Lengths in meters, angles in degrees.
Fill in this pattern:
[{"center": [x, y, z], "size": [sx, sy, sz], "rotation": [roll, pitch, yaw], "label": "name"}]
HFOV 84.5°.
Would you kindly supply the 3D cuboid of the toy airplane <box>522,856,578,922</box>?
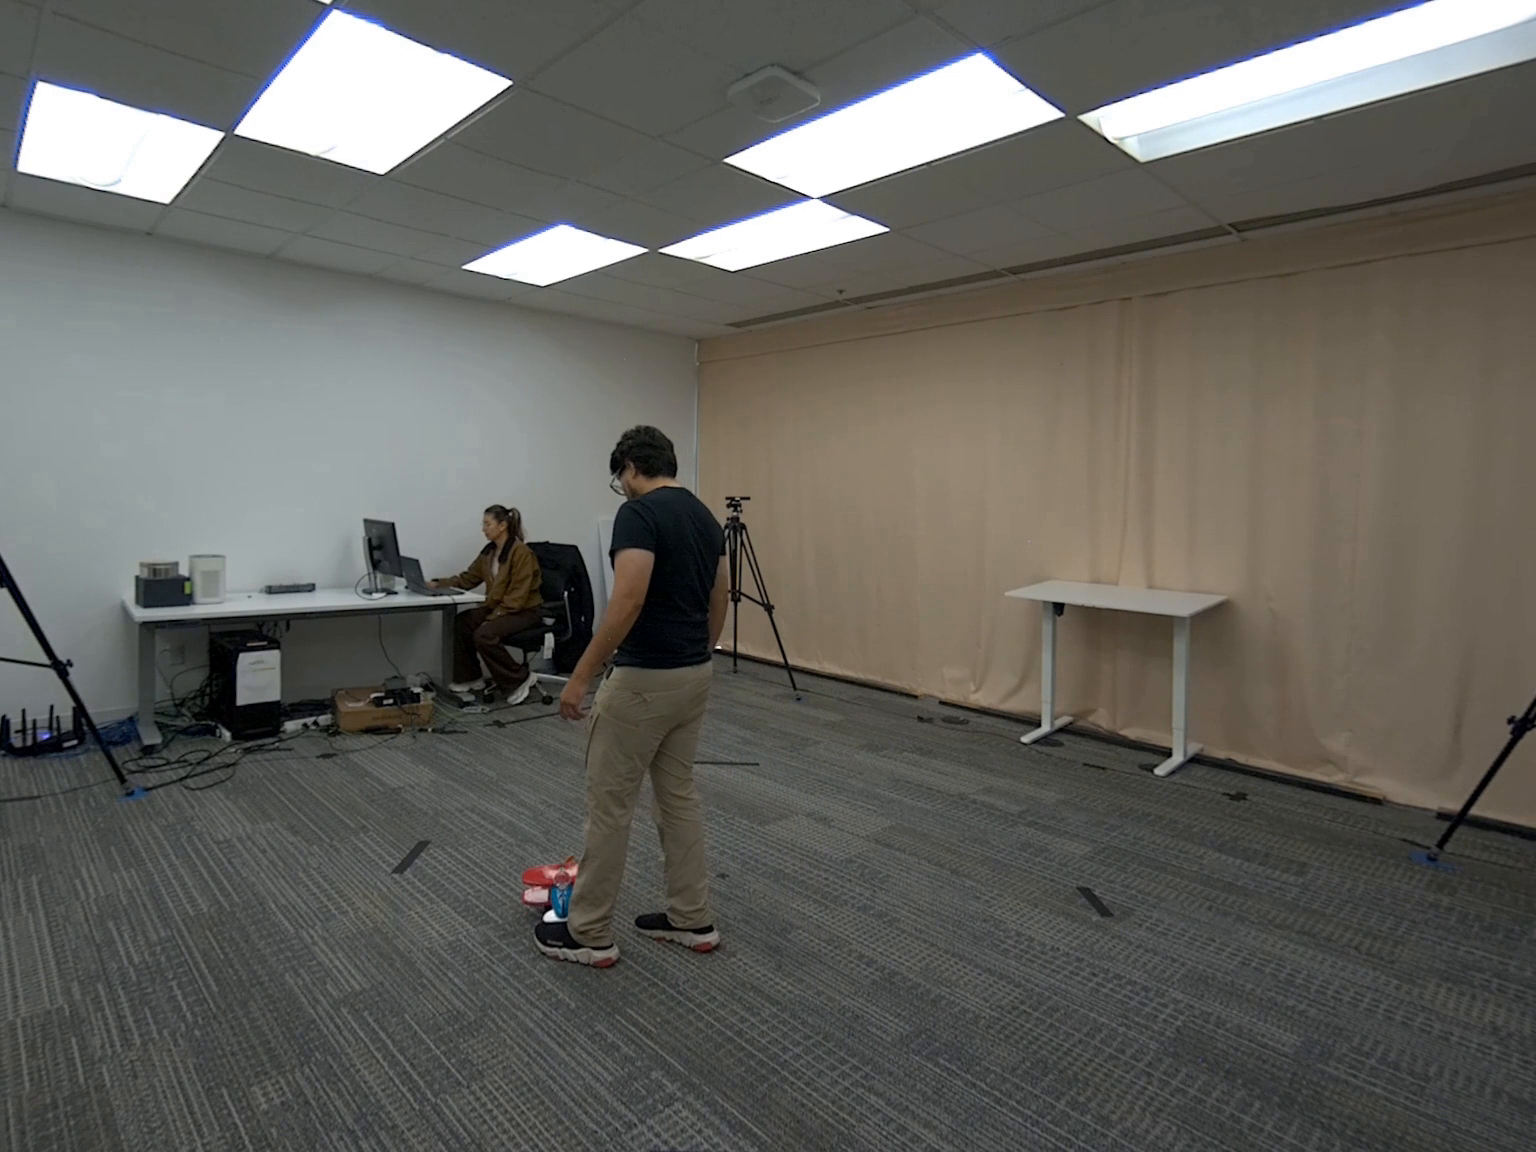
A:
[{"center": [-0.668, 1.054, 2.761], "size": [0.245, 0.156, 0.266], "rotation": [-5, 7, -42], "label": "toy airplane"}]
